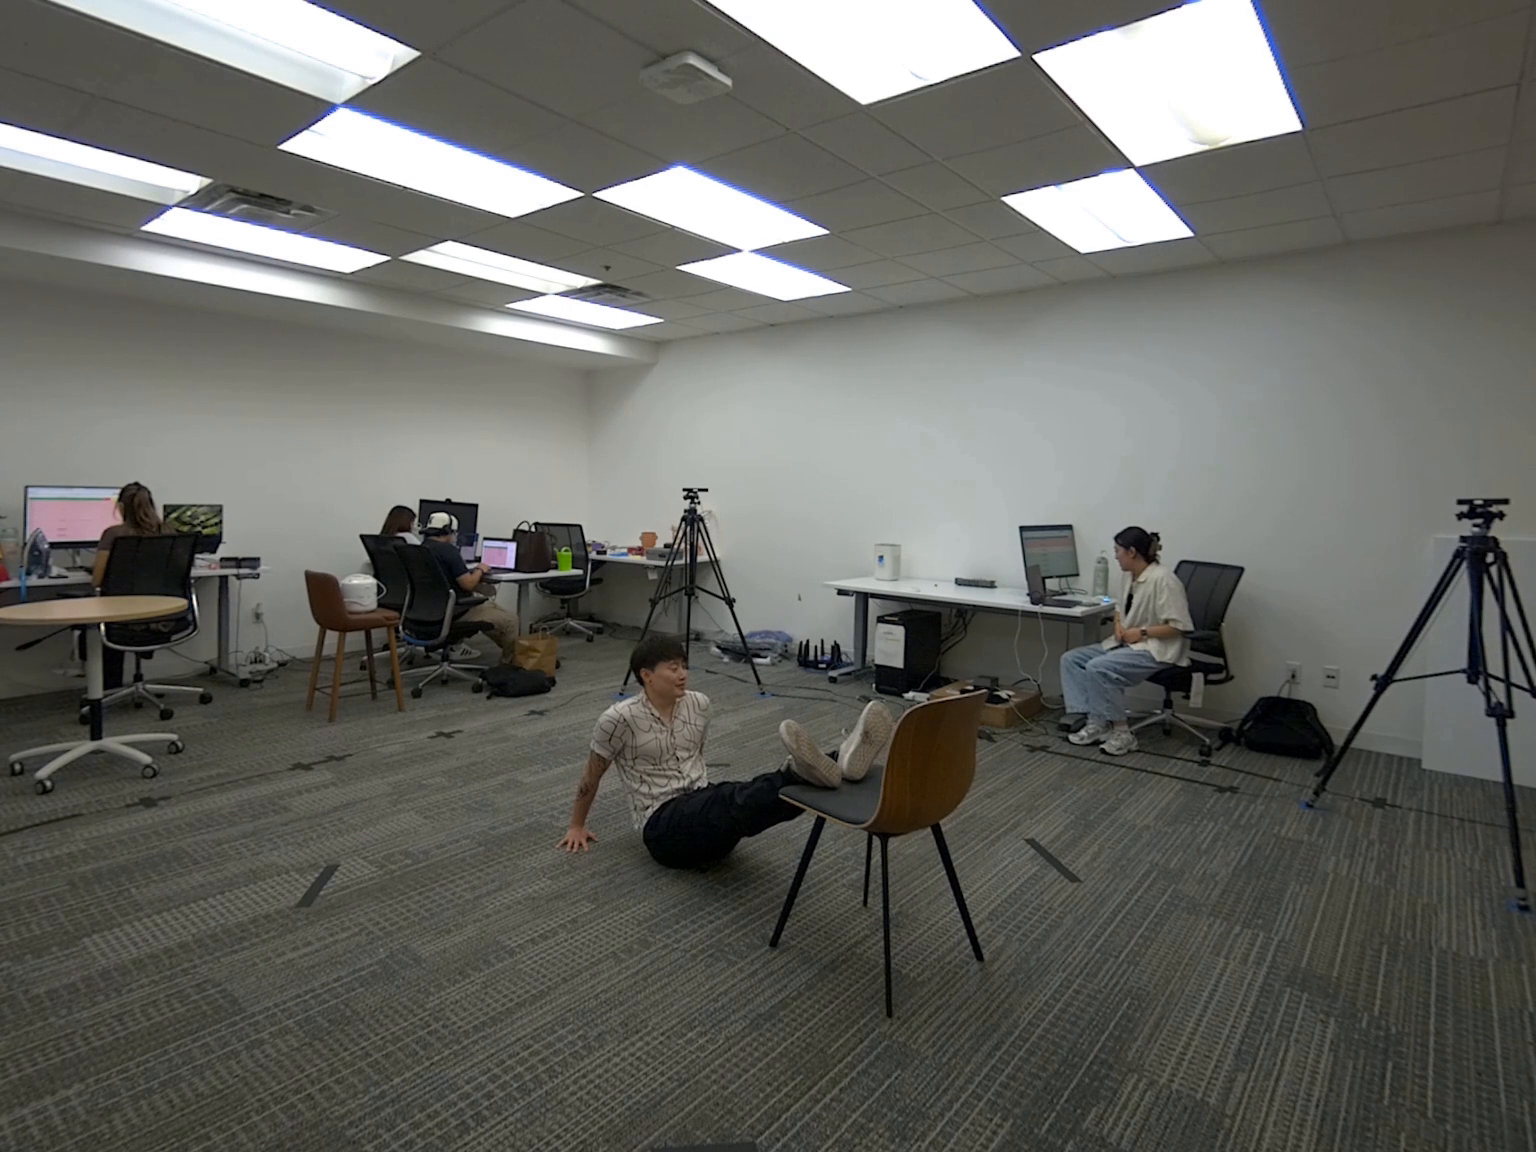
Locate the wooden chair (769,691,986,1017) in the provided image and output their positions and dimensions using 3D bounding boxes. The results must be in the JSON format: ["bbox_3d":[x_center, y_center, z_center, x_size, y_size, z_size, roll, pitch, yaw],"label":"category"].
[{"bbox_3d":[0.325,0.707,2.545,0.463,0.872,0.542,-2,9,-43],"label":"wooden chair"}]
